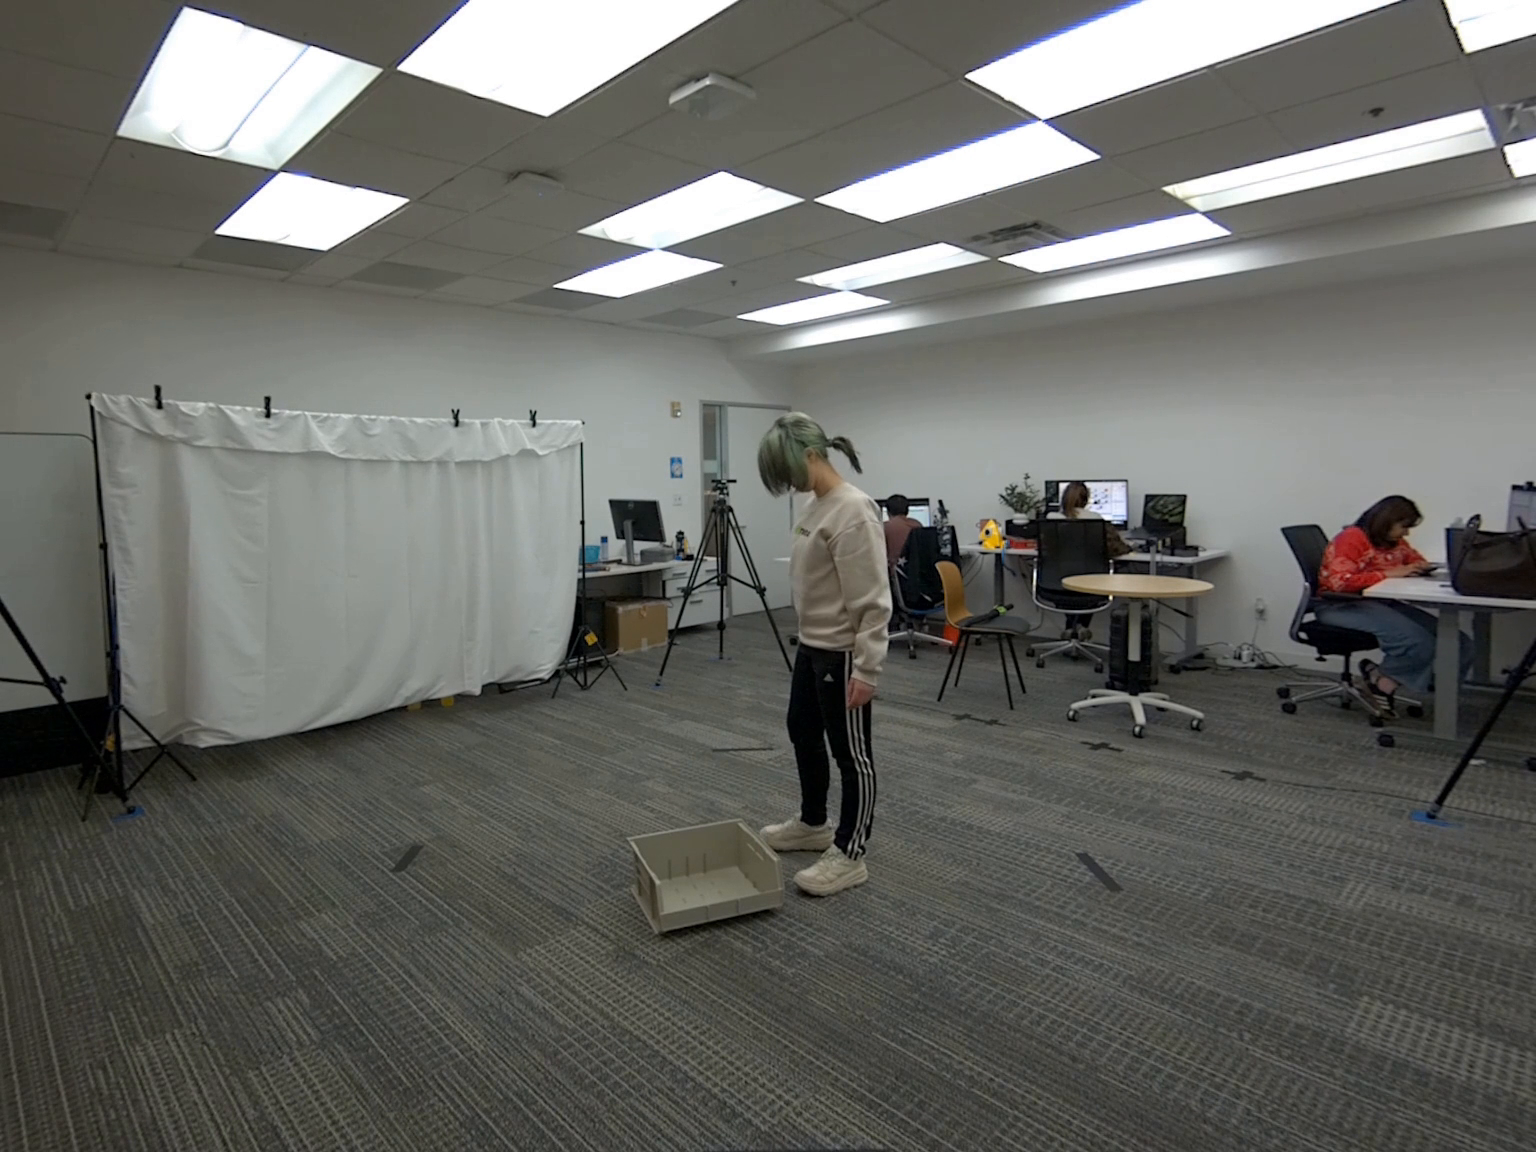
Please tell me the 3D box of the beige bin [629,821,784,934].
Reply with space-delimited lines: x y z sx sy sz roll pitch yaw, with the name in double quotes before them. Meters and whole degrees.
"beige bin" -0.207 0.993 2.823 0.414 0.188 0.386 -5 6 -22
